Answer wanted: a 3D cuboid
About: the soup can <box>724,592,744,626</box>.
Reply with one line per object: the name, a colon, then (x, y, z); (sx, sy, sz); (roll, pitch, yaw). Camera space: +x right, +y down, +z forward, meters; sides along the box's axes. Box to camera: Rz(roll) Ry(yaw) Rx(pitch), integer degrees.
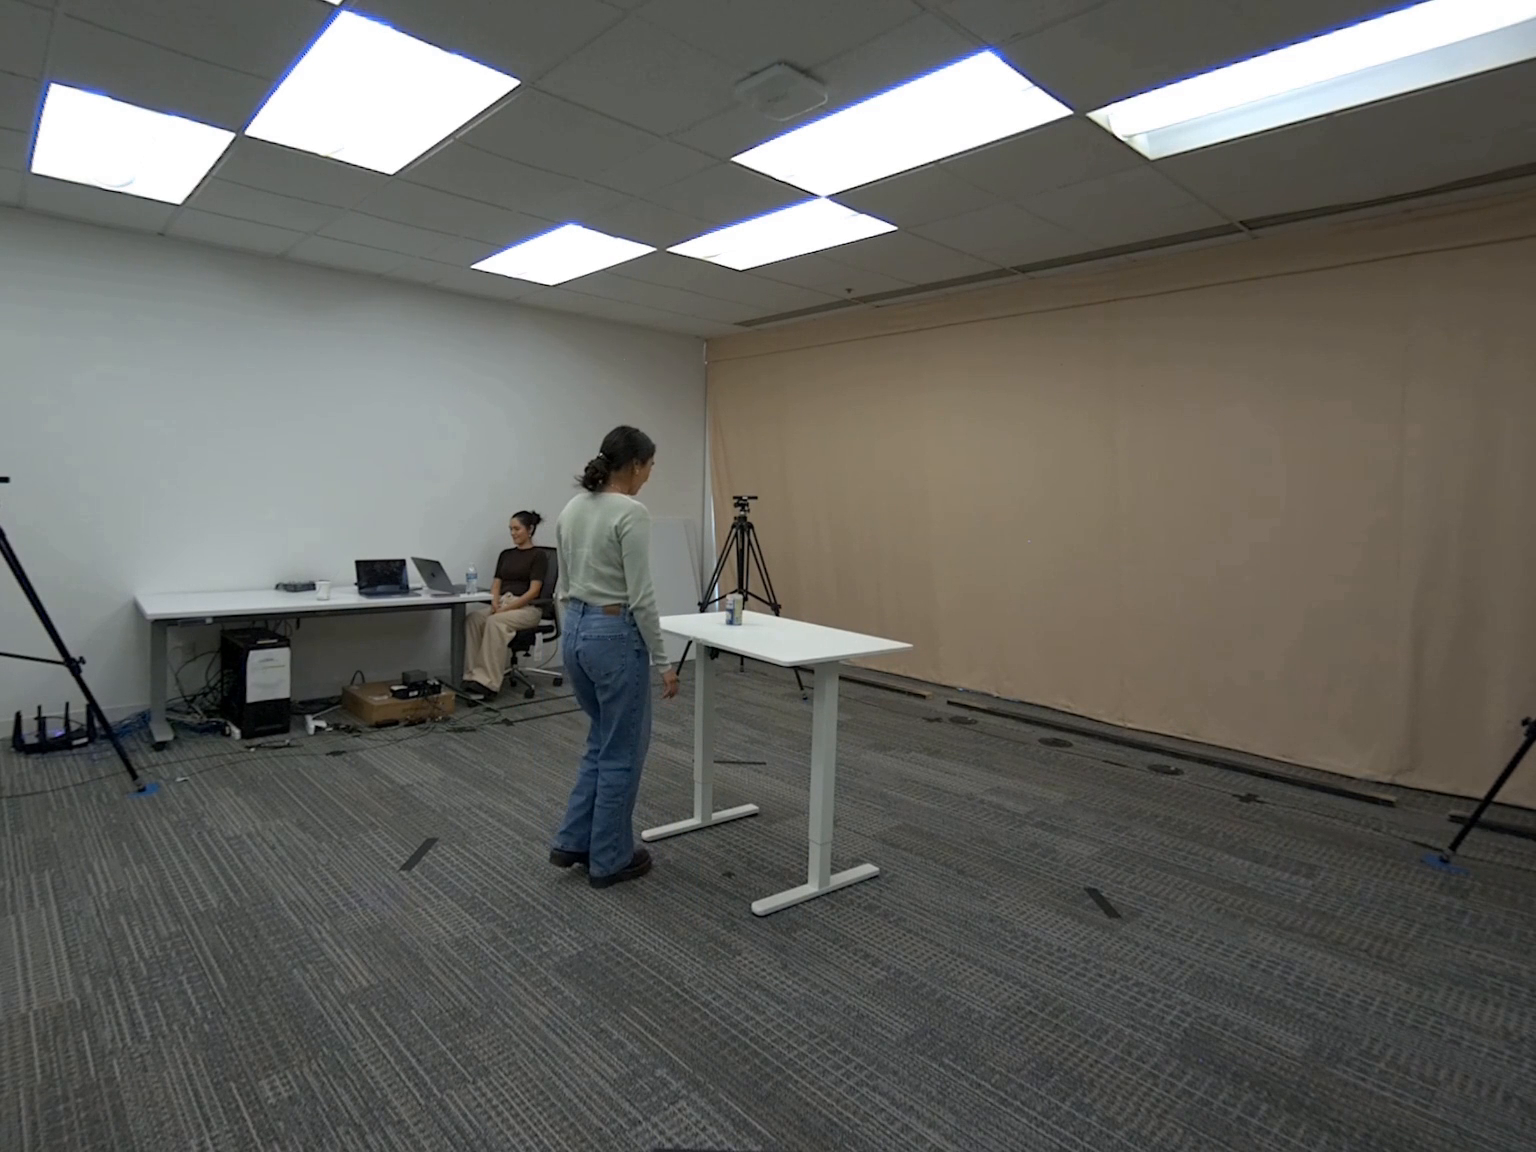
soup can: (-0.146, 0.138, 3.374); (0.067, 0.121, 0.067); (-1, 2, -1)
